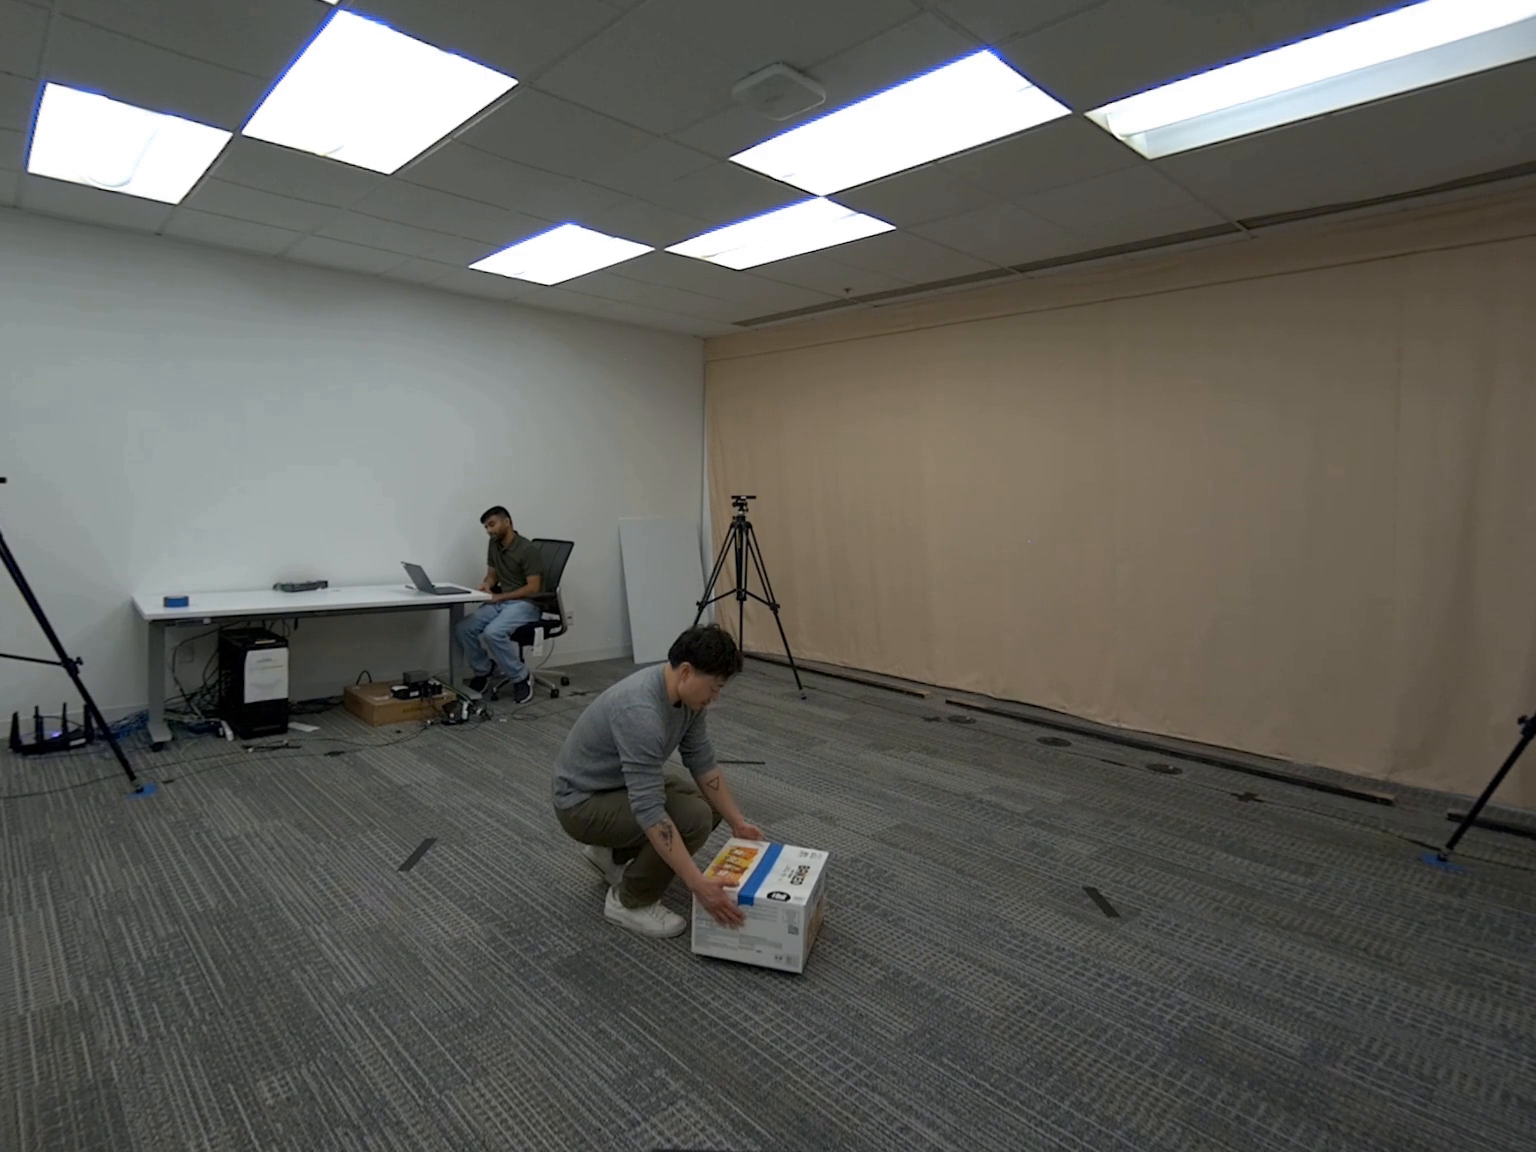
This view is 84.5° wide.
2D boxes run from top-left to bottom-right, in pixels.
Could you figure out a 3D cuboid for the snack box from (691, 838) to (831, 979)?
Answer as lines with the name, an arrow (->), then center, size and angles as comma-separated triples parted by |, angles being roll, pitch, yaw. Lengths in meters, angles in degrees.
snack box -> -0.011, 1.014, 2.634 | 0.344, 0.205, 0.401 | 2, 4, 14
